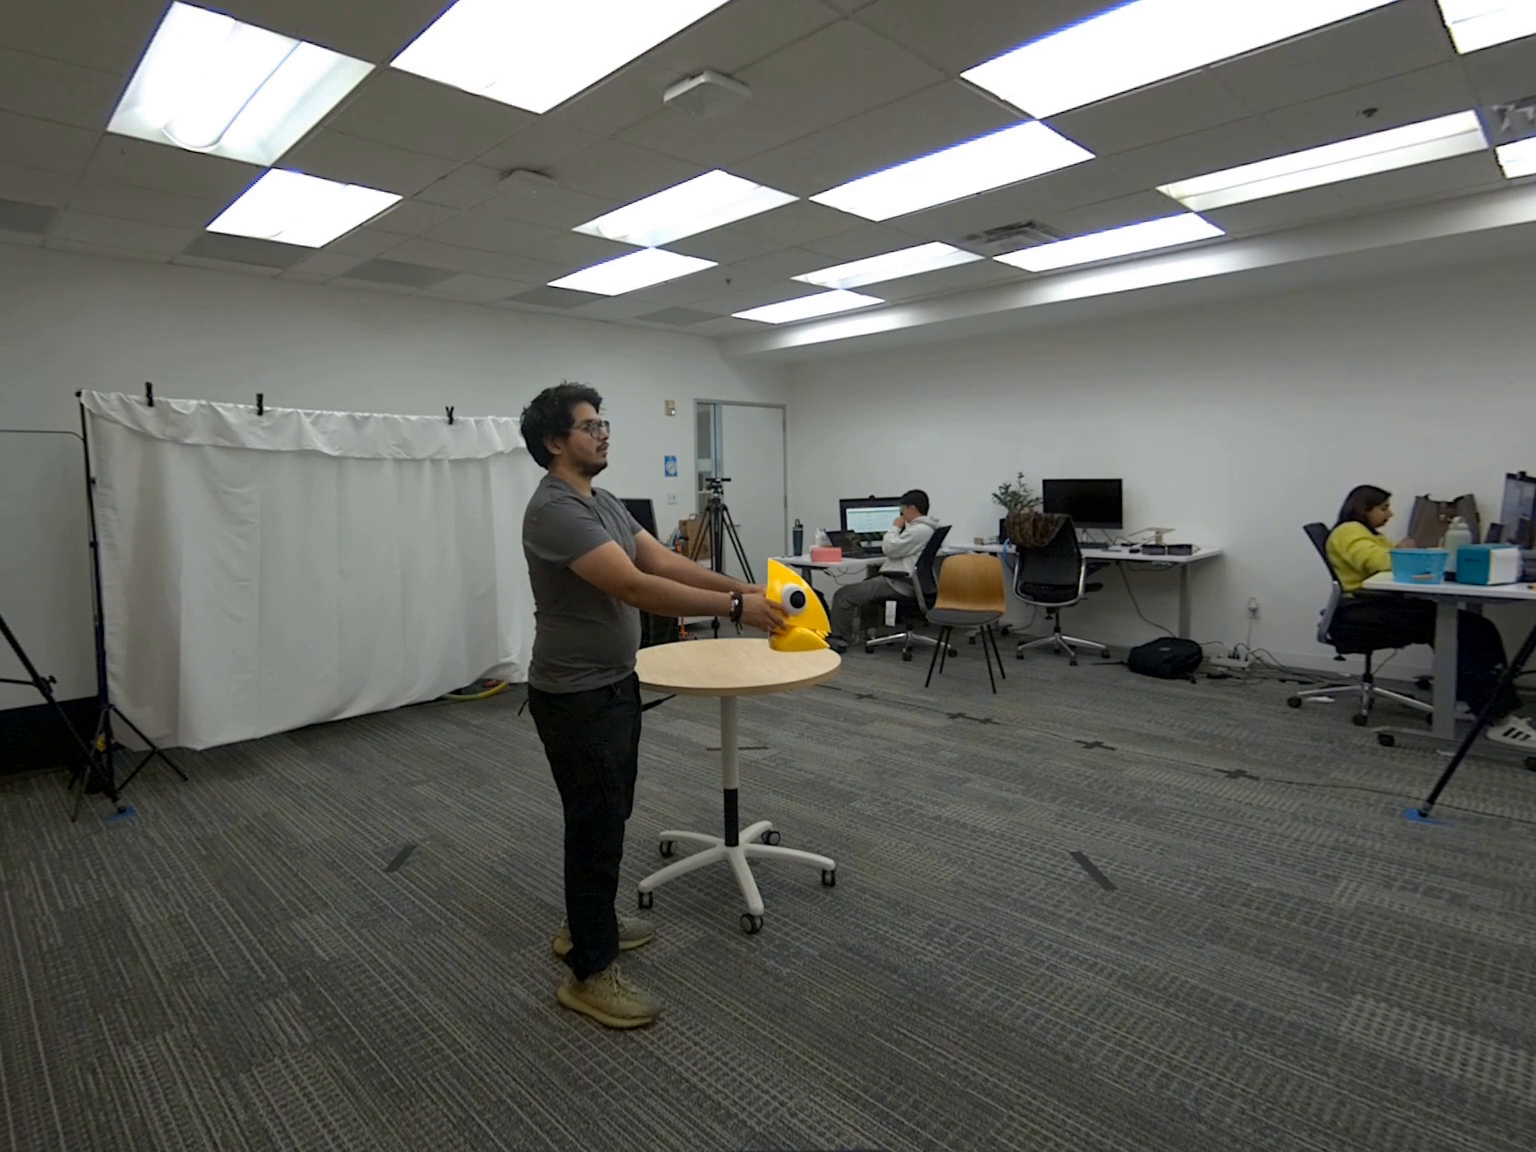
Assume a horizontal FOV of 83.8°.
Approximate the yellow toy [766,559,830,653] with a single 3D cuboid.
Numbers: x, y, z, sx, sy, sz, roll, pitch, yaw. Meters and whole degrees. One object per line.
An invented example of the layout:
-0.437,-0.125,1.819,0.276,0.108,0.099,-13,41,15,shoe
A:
0.066,0.062,2.290,0.194,0.229,0.205,-3,6,5,yellow toy
